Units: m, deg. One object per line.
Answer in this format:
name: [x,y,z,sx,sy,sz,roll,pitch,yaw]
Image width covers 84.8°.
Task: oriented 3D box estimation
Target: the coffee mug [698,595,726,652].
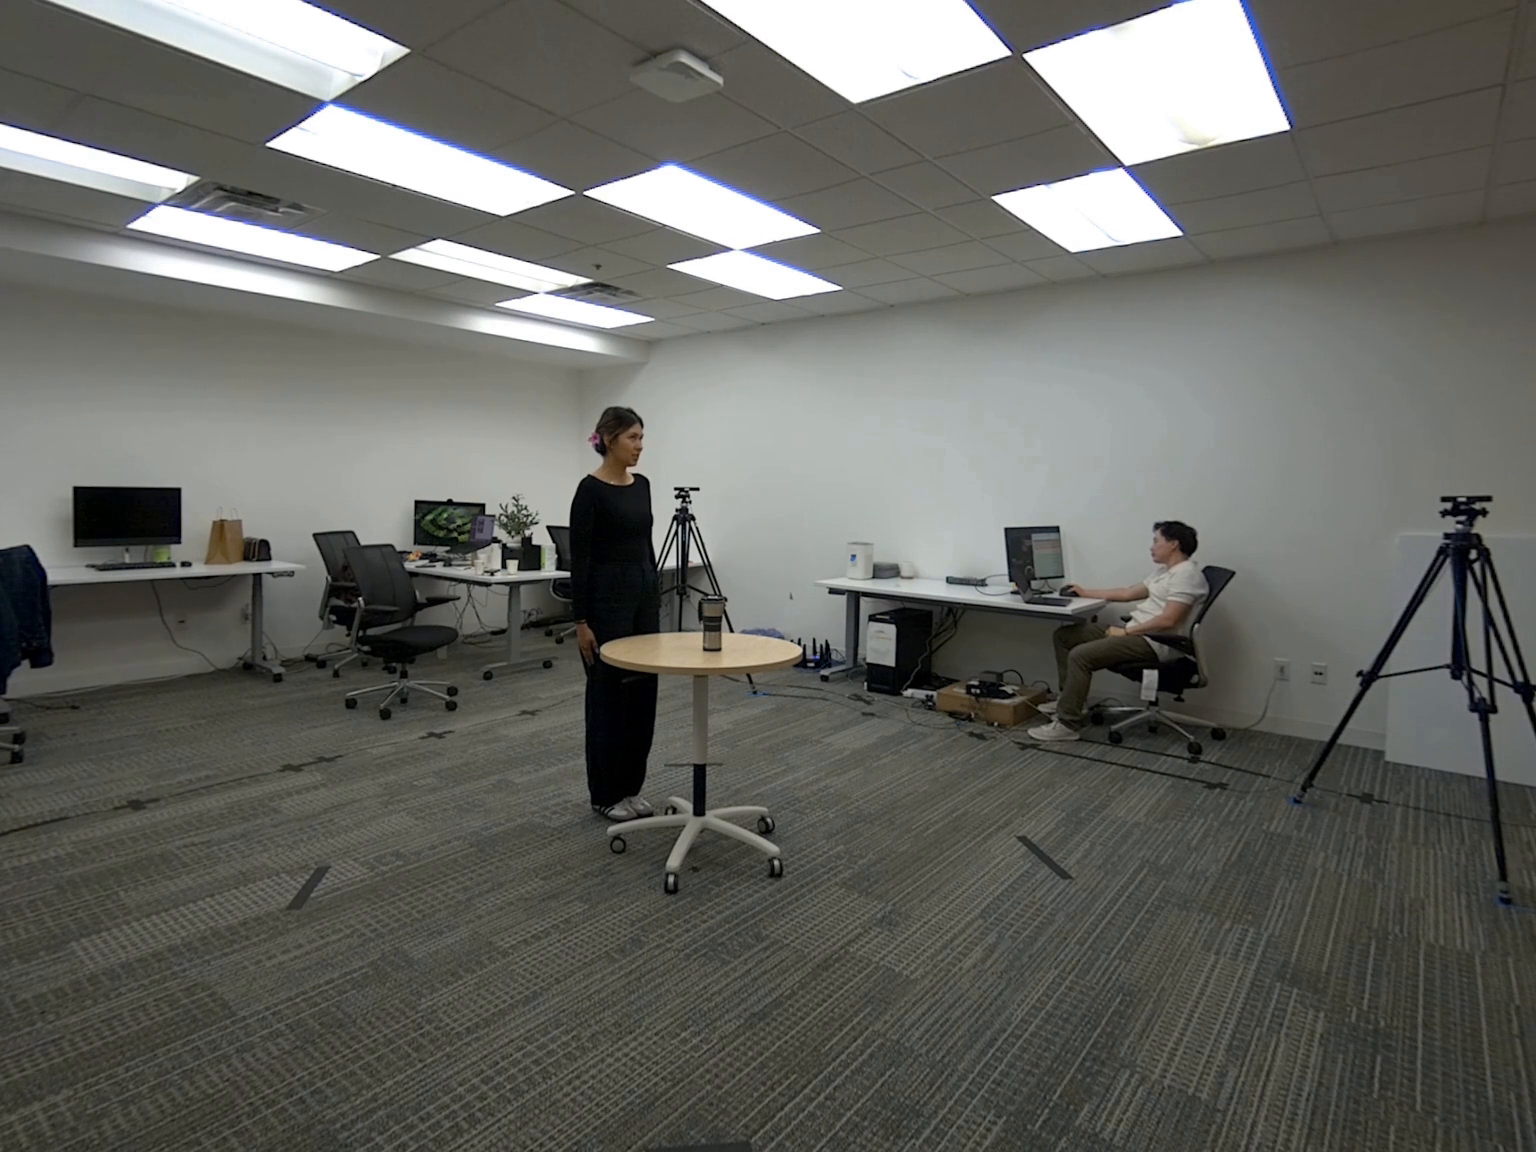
coffee mug: [-0.215,0.175,3.200,0.088,0.202,0.121,-3,3,6]
